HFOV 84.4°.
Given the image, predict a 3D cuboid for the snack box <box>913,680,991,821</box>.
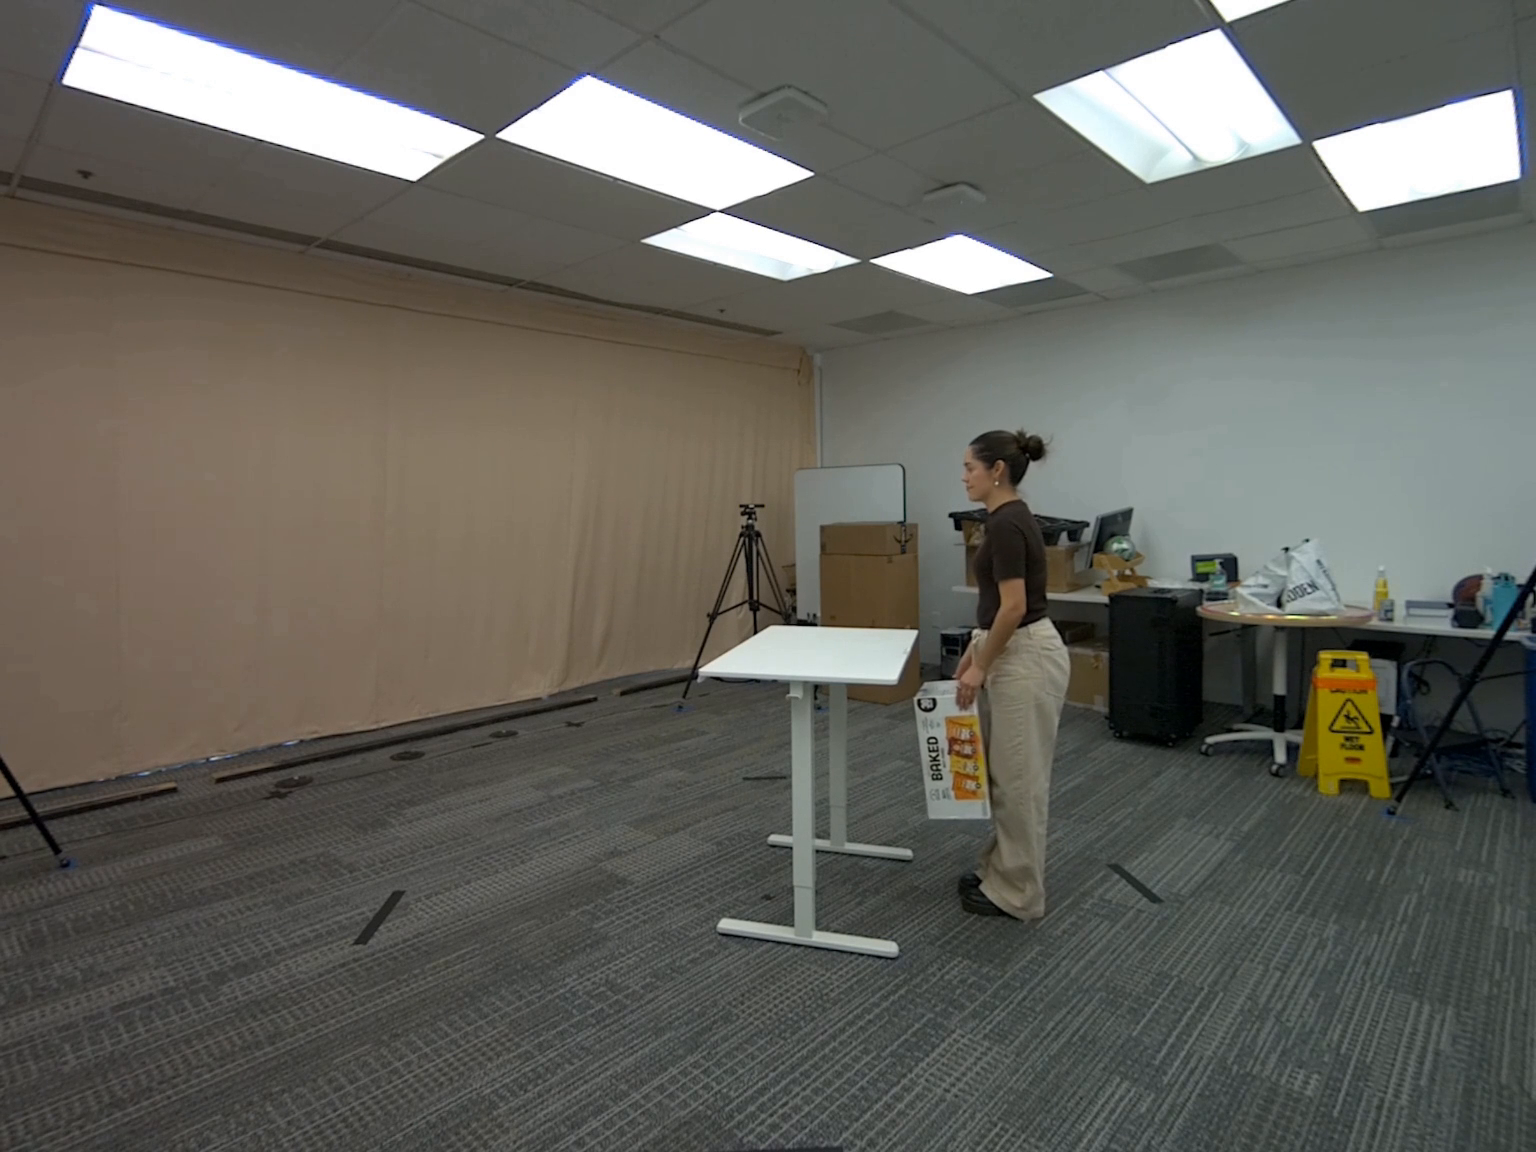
[{"bbox_3d":[0.667,0.598,2.955,0.209,0.405,0.334,-7,-1,17],"label":"snack box"}]
